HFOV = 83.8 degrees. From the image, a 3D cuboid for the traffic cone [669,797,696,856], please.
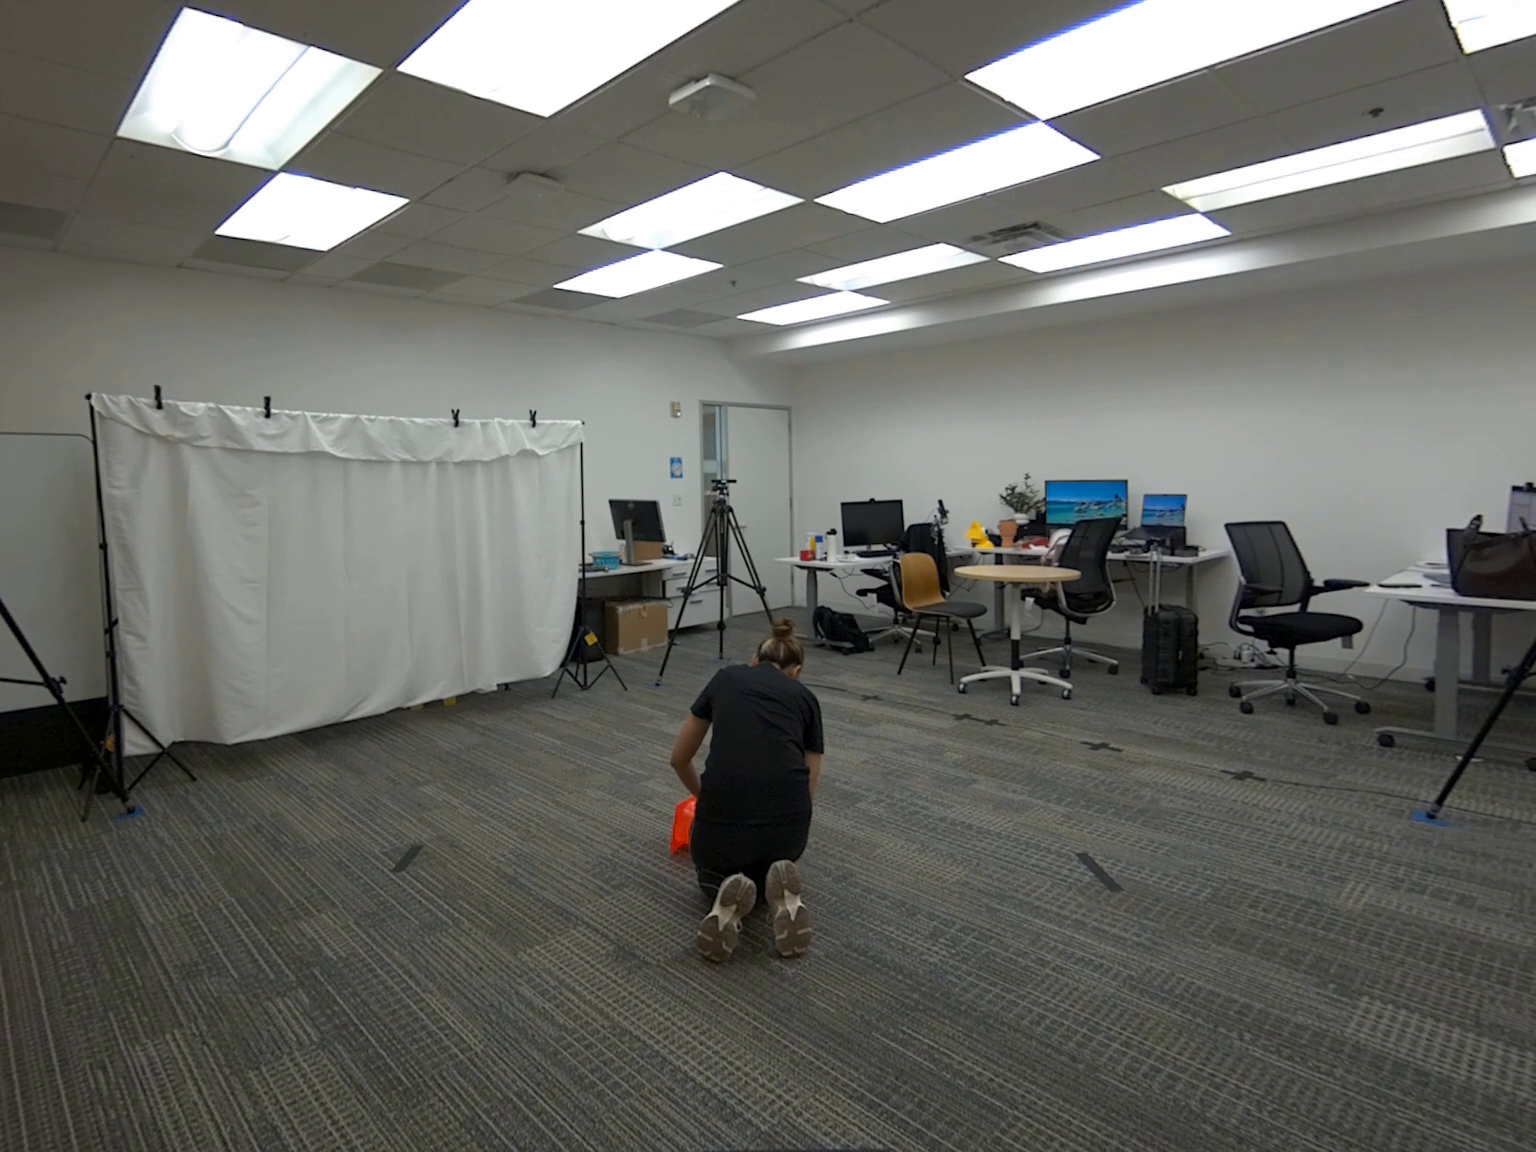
[{"bbox_3d":[-0.137,0.977,3.179,0.394,0.203,0.199,14,11,25],"label":"traffic cone"}]
